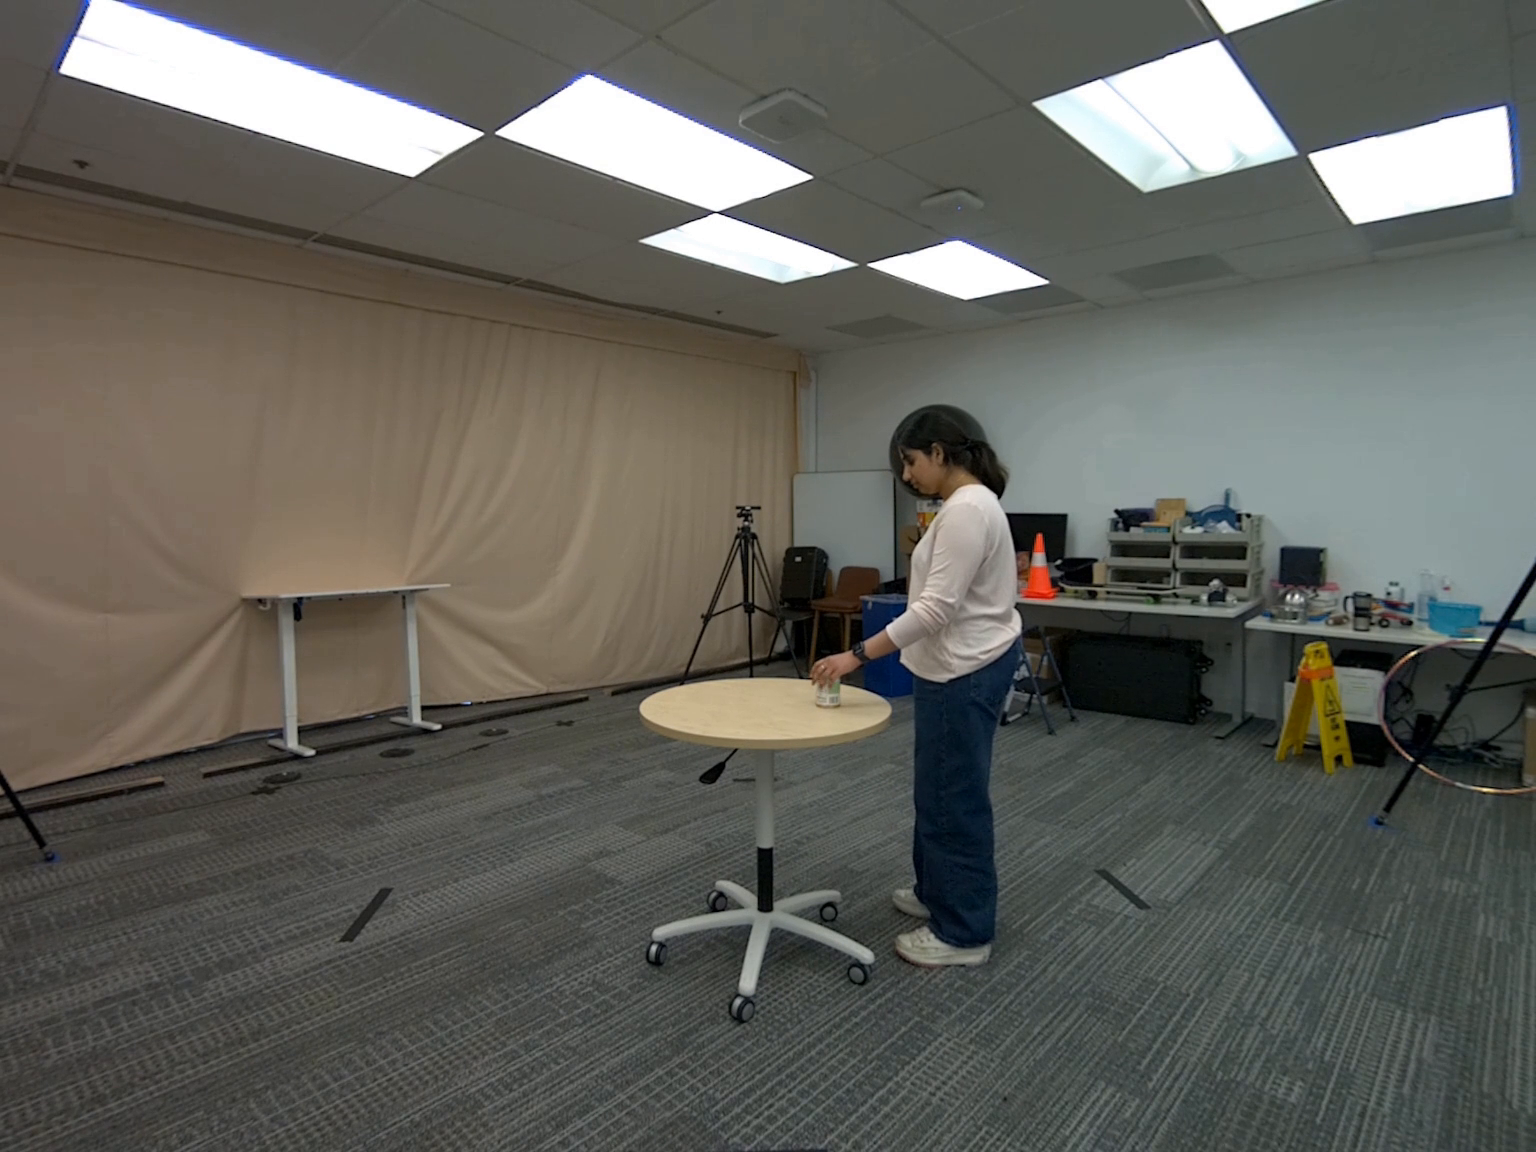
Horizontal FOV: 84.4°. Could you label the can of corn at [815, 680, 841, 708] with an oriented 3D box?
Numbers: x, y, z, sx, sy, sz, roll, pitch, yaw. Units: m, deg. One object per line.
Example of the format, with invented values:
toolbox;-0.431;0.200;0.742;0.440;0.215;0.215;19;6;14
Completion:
can of corn;0.191;0.343;2.558;0.074;0.111;0.074;3;3;-2
